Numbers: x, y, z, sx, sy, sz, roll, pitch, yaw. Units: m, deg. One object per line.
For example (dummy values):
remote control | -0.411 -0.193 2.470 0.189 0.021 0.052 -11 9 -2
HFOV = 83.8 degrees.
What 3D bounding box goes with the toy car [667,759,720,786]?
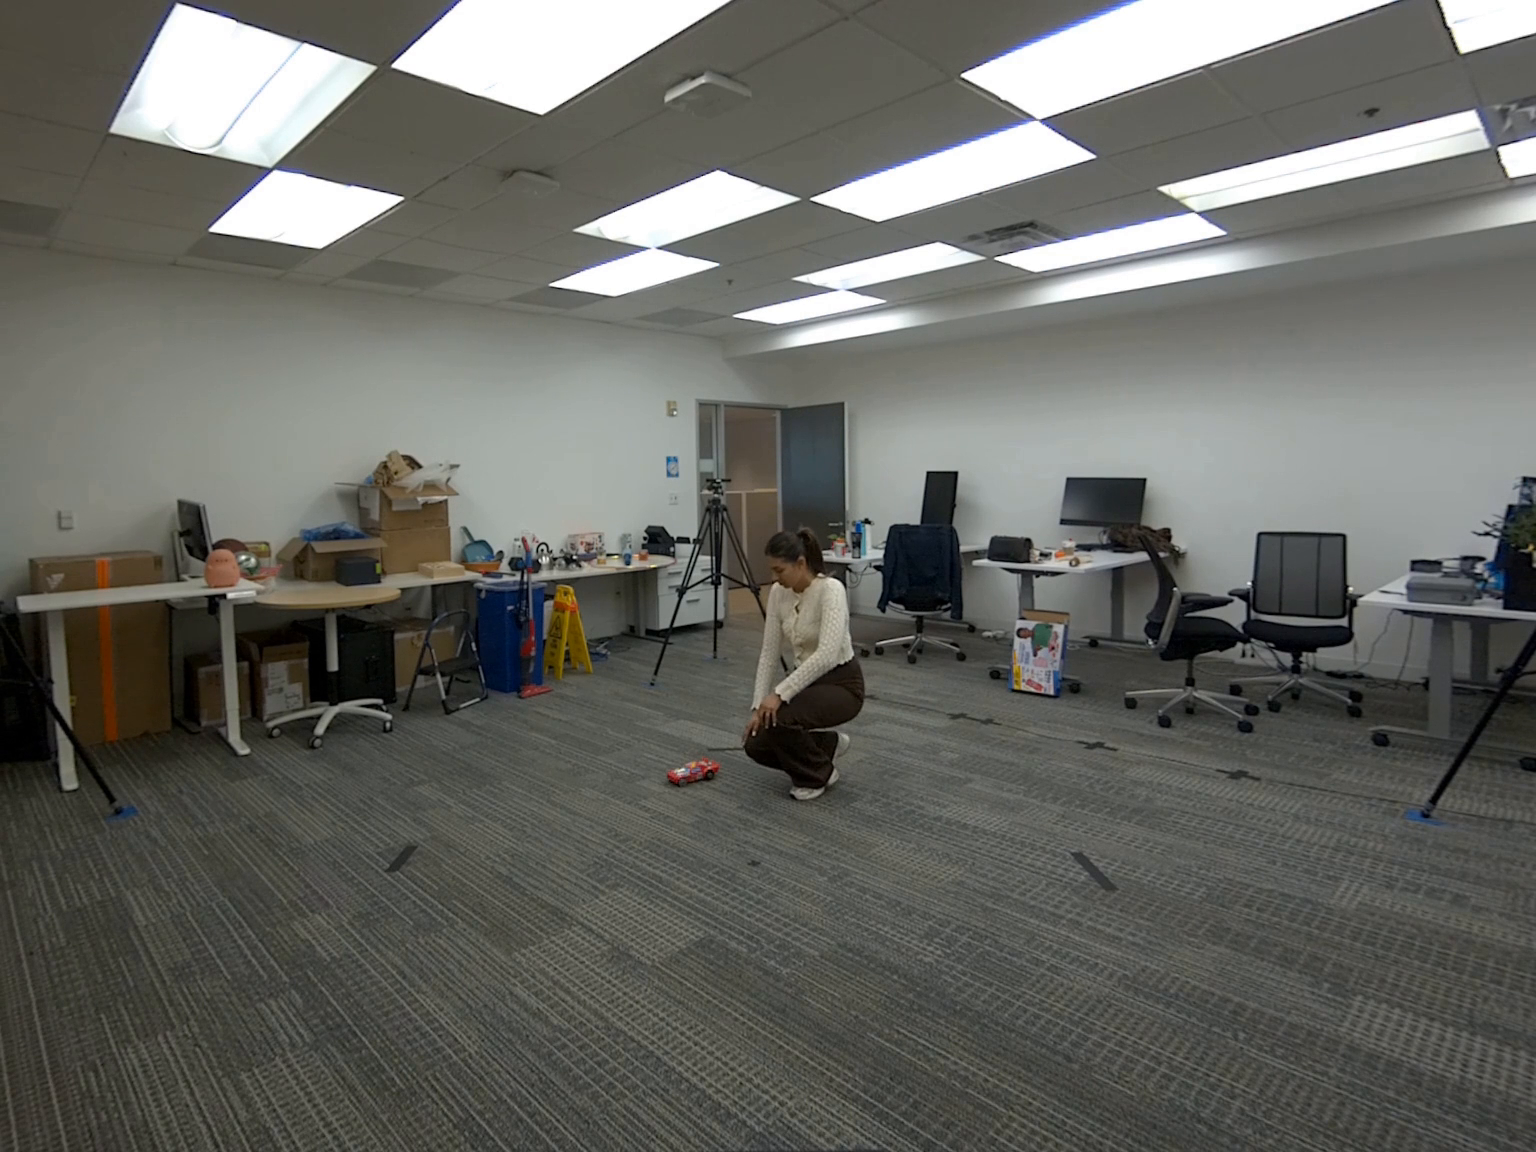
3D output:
toy car | -0.346 0.918 4.002 0.250 0.082 0.134 -18 13 -31
